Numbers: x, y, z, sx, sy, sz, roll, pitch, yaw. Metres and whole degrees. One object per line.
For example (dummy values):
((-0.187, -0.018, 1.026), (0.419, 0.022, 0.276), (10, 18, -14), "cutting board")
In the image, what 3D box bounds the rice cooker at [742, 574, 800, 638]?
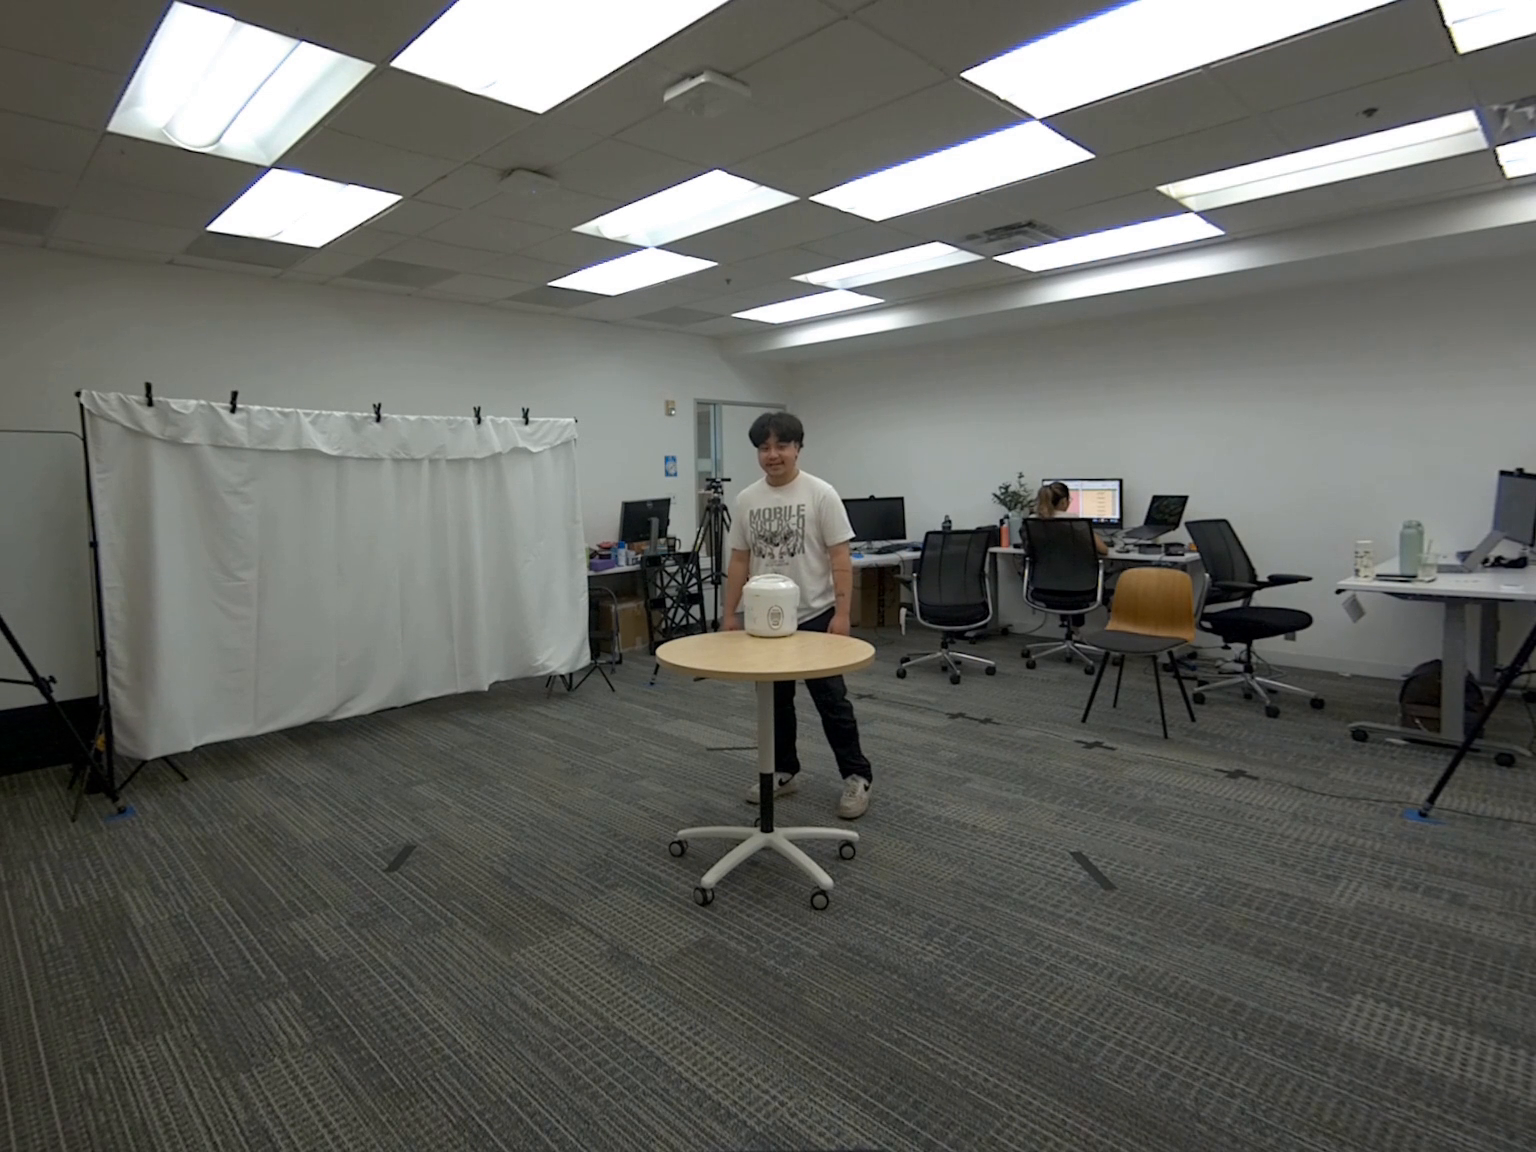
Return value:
((0.010, 0.111, 3.291), (0.219, 0.232, 0.219), (-2, 4, -7), "rice cooker")
